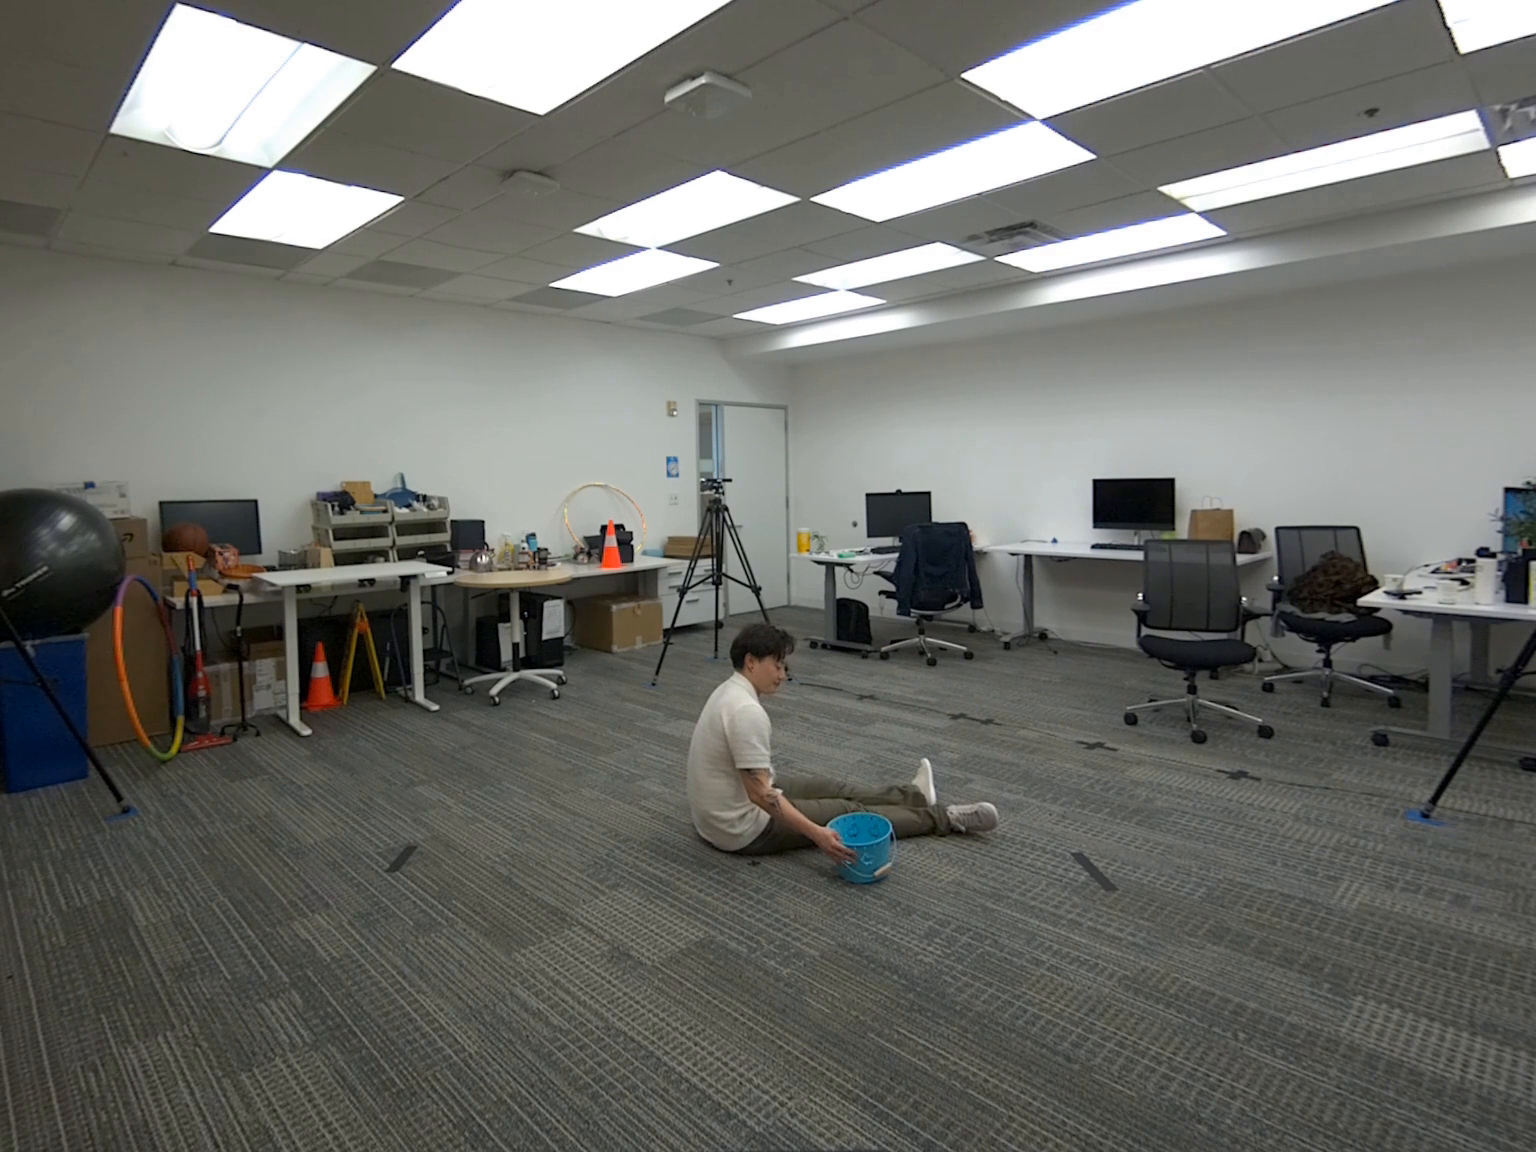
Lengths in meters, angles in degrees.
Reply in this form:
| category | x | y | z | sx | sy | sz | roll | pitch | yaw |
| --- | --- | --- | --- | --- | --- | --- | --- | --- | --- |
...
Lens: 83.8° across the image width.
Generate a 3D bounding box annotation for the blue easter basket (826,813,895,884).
| category | x | y | z | sx | sy | sz | roll | pitch | yaw |
| --- | --- | --- | --- | --- | --- | --- | --- | --- | --- |
| blue easter basket | 0.333 | 0.955 | 3.002 | 0.243 | 0.154 | 0.246 | -7 | 10 | -1 |
